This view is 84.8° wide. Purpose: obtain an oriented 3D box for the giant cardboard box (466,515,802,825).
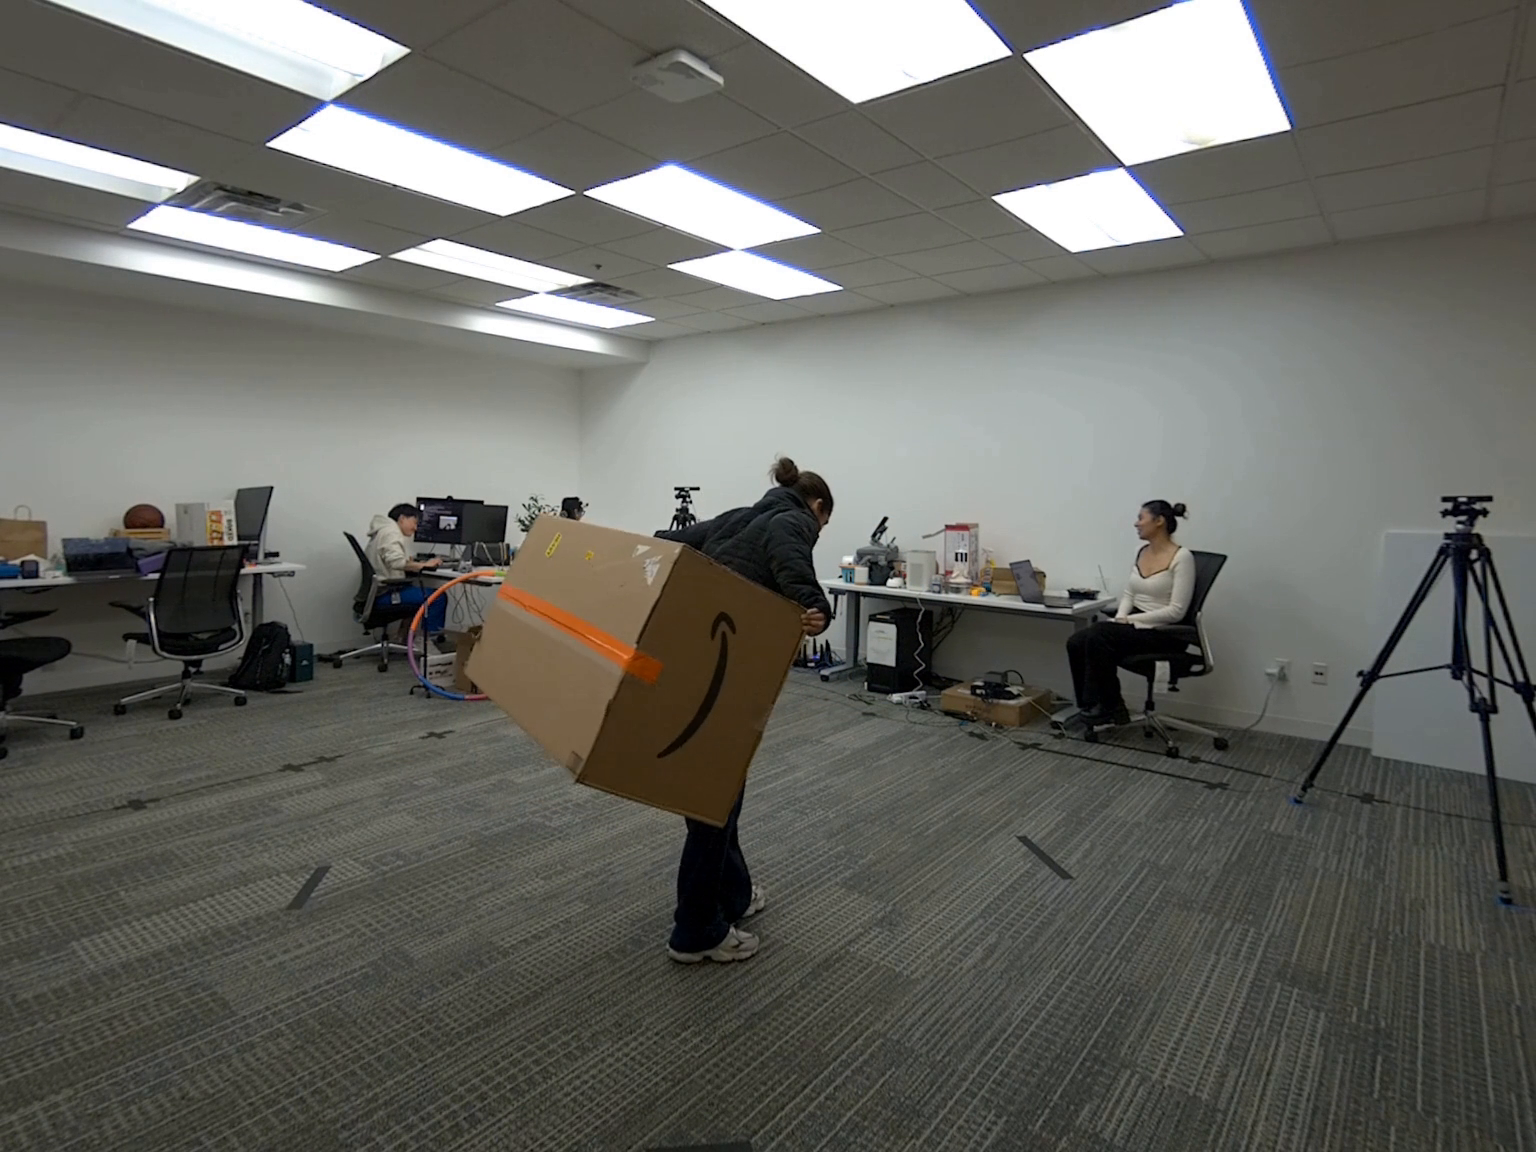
[{"bbox_3d":[-0.424,0.197,2.454,0.411,0.579,1.060,29,-9,-32],"label":"giant cardboard box"}]
